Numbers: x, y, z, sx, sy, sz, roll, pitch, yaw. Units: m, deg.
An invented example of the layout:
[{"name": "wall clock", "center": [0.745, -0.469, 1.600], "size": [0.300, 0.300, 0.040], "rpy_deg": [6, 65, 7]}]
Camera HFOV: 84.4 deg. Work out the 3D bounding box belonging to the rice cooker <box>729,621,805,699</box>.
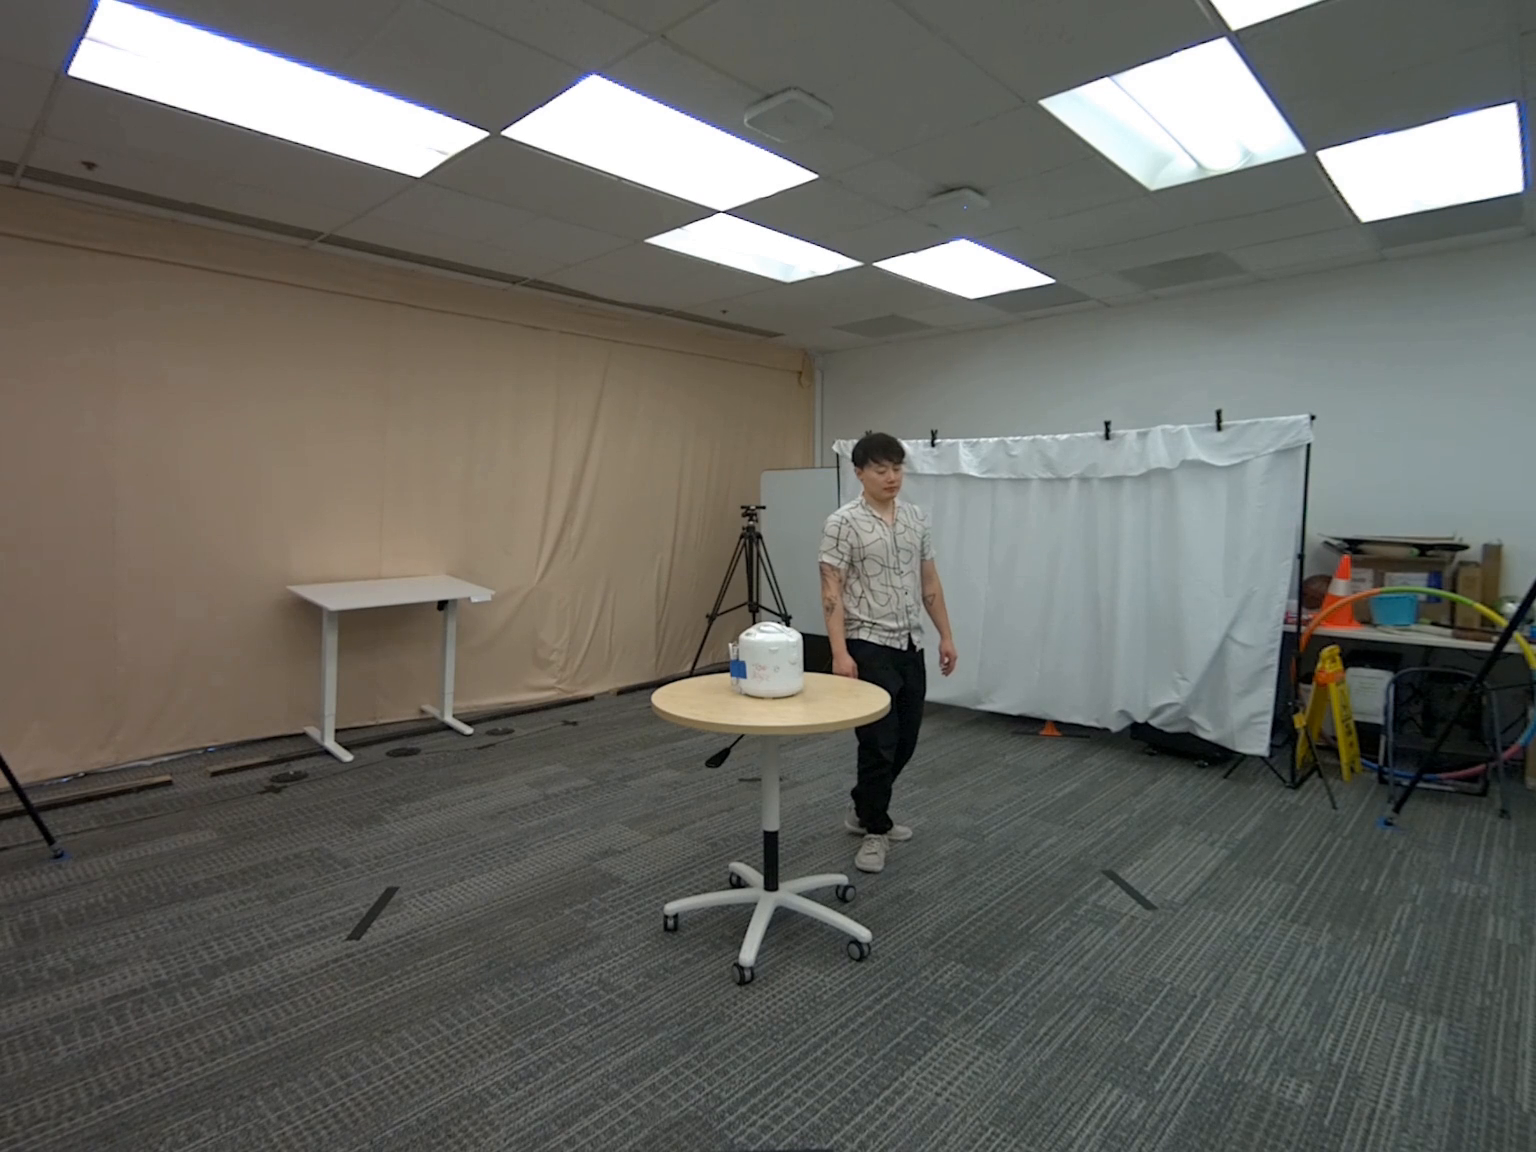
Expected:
[{"name": "rice cooker", "center": [0.011, 0.265, 2.739], "size": [0.211, 0.232, 0.228], "rpy_deg": [-5, 5, -43]}]
